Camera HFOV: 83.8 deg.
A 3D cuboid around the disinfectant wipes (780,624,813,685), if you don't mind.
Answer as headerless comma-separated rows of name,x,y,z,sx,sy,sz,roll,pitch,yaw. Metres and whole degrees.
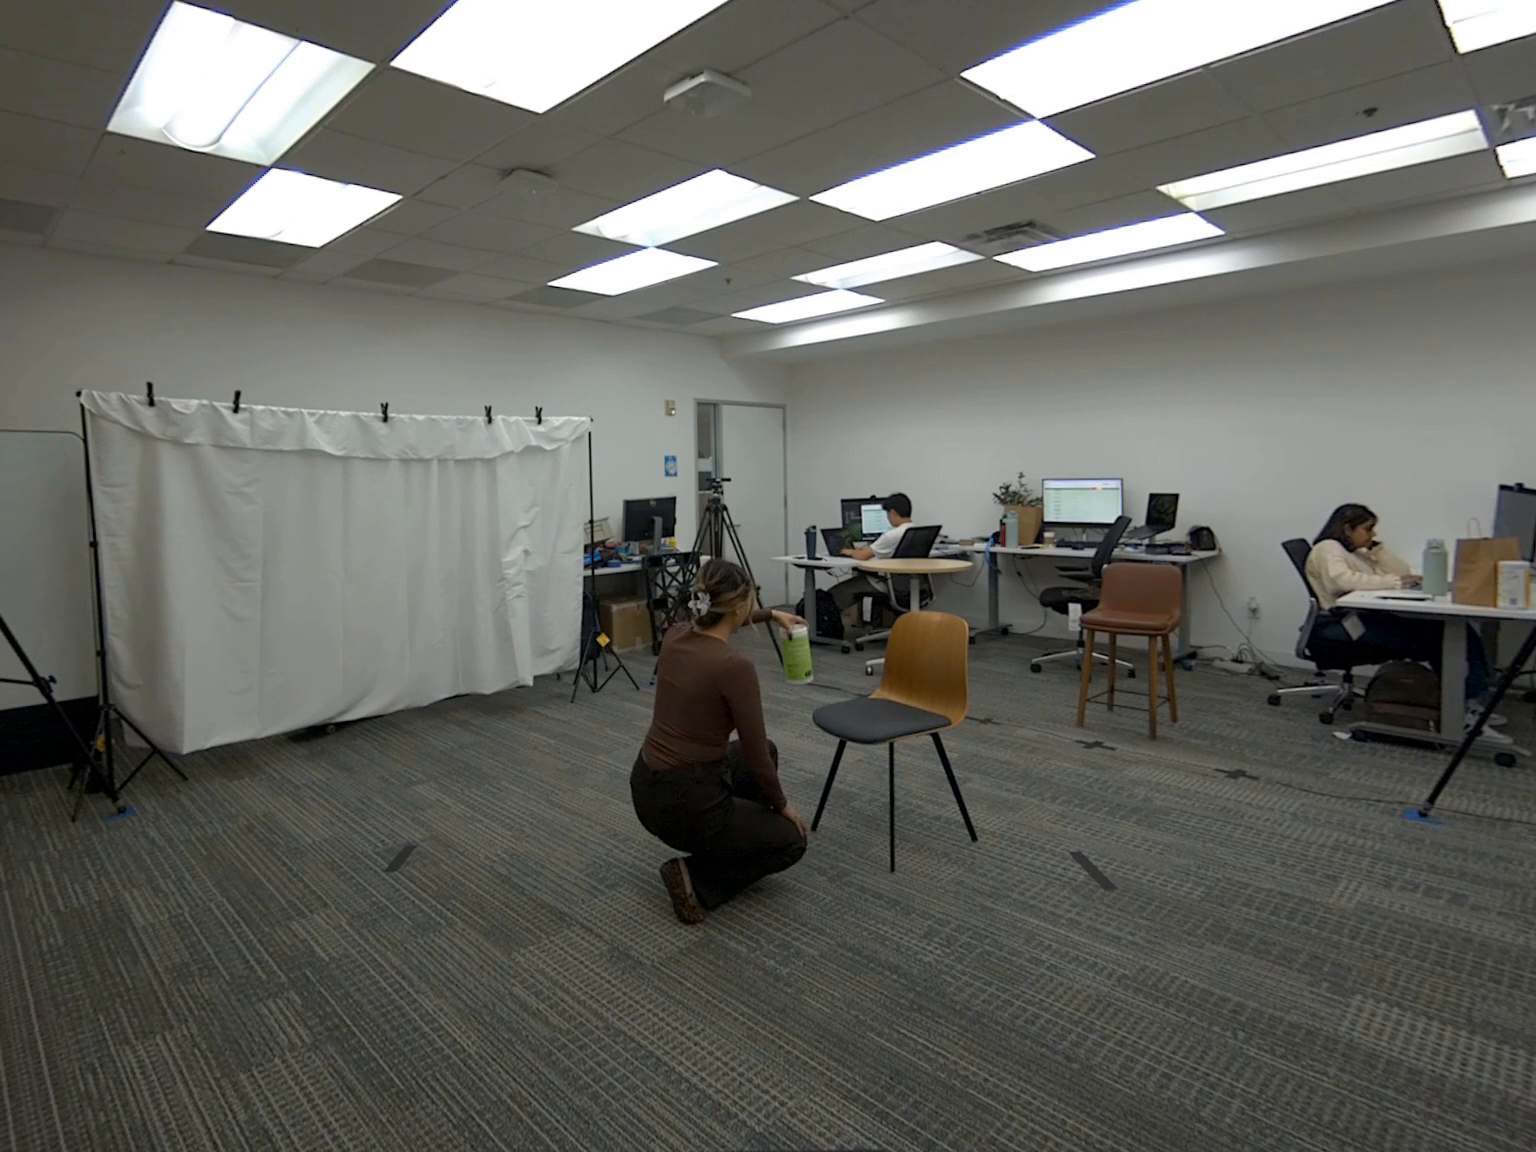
disinfectant wipes,0.113,0.304,3.304,0.118,0.216,0.119,-7,8,-1
